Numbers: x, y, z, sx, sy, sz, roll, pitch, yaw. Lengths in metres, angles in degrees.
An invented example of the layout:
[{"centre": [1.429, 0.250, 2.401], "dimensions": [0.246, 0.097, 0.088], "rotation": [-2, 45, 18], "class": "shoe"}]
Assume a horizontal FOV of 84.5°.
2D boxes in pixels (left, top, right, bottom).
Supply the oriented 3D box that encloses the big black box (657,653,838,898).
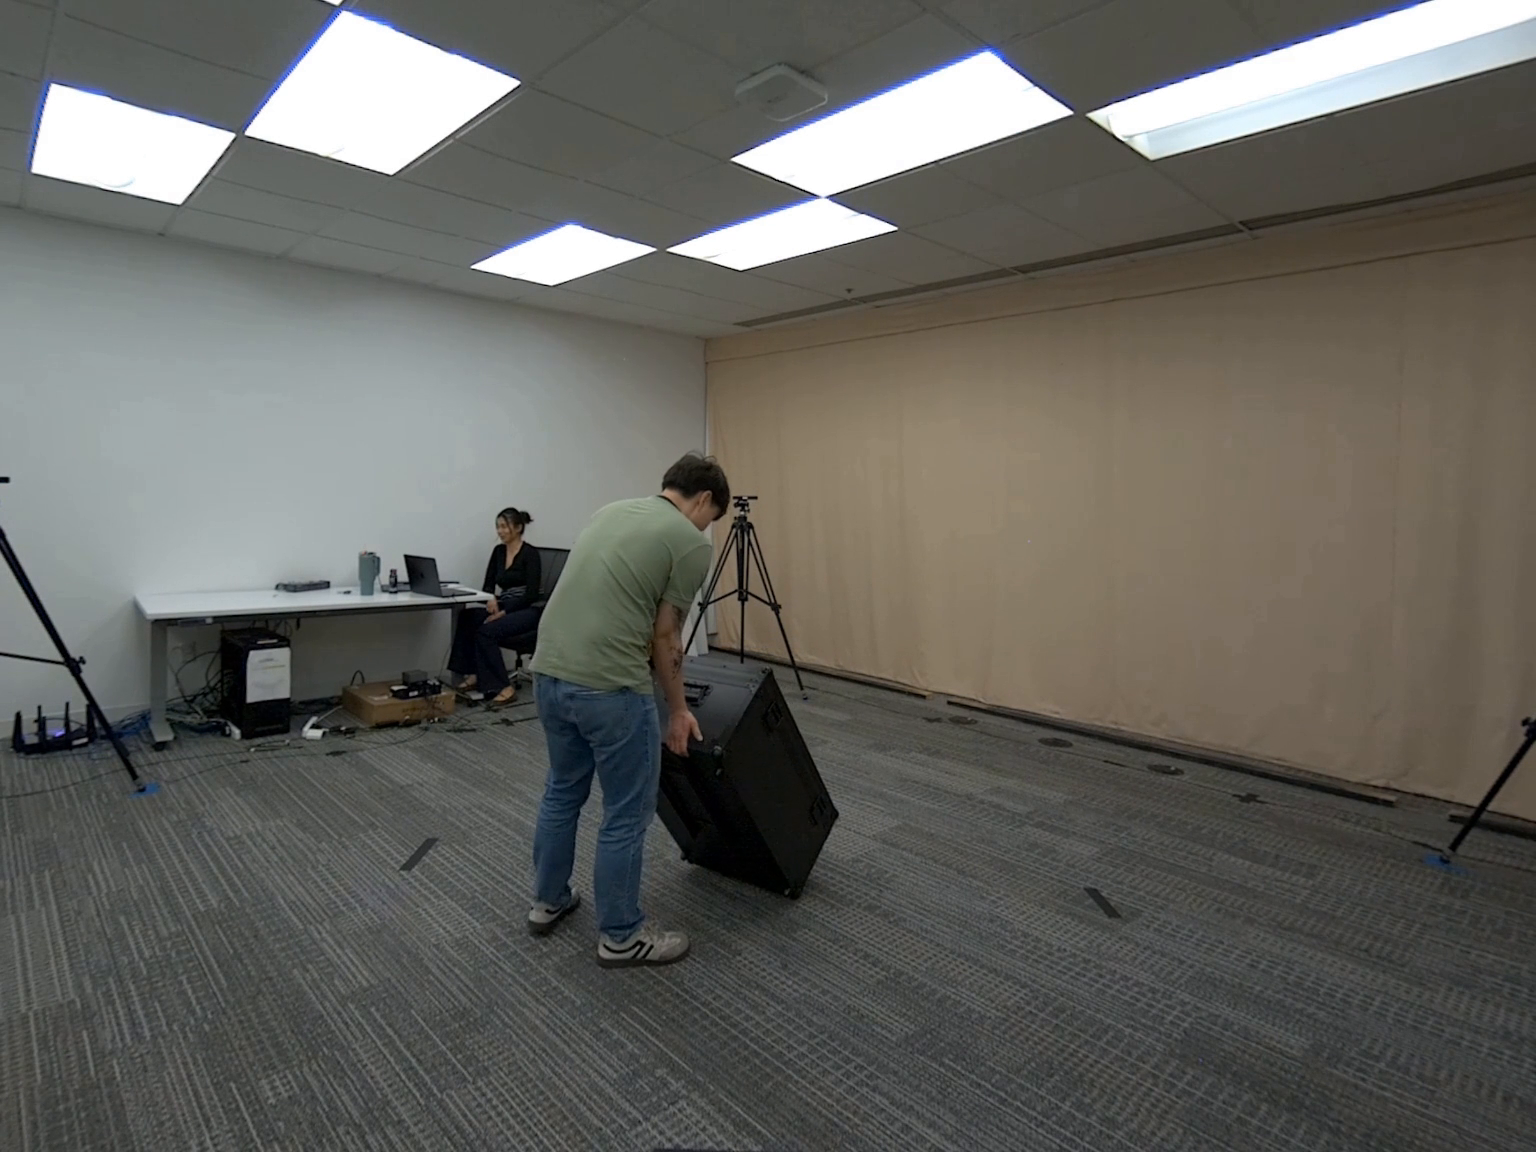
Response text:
[{"centre": [-0.135, 0.717, 2.915], "dimensions": [0.533, 0.838, 0.398], "rotation": [4, 43, 35], "class": "big black box"}]
